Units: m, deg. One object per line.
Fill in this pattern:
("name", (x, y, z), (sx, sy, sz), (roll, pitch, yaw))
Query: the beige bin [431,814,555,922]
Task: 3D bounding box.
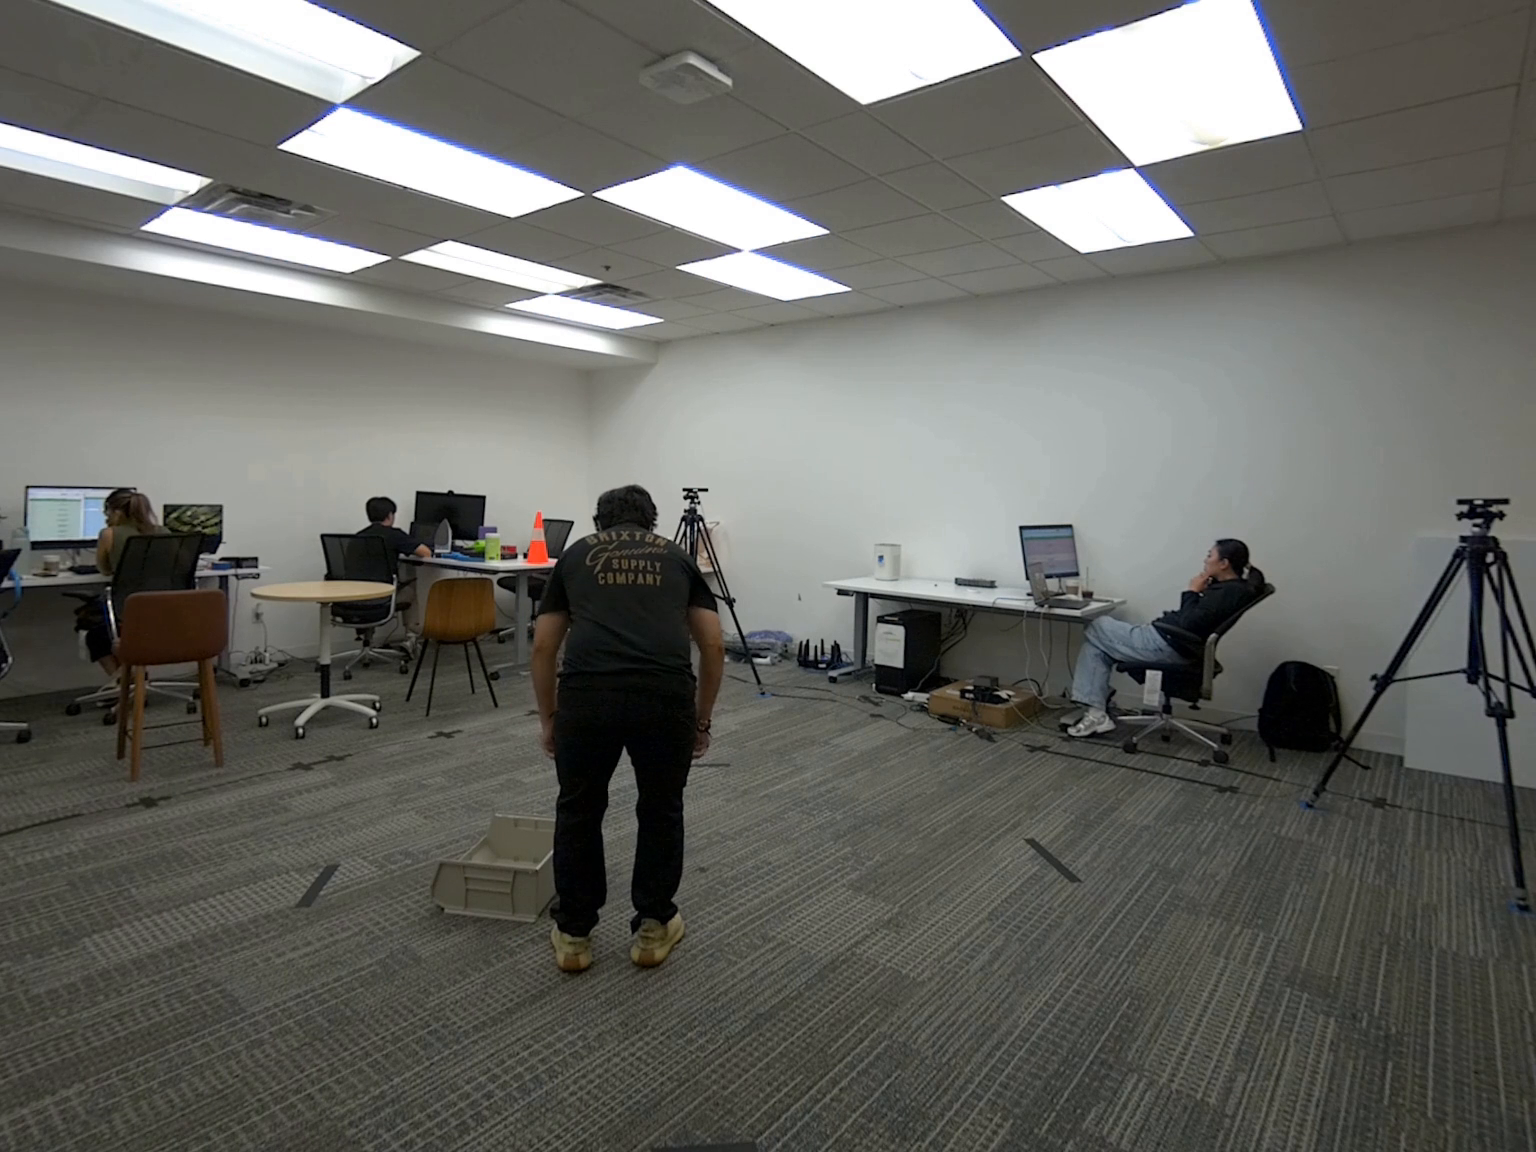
("beige bin", (-0.904, 0.989, 2.926), (0.381, 0.188, 0.419), (3, 5, 8))
